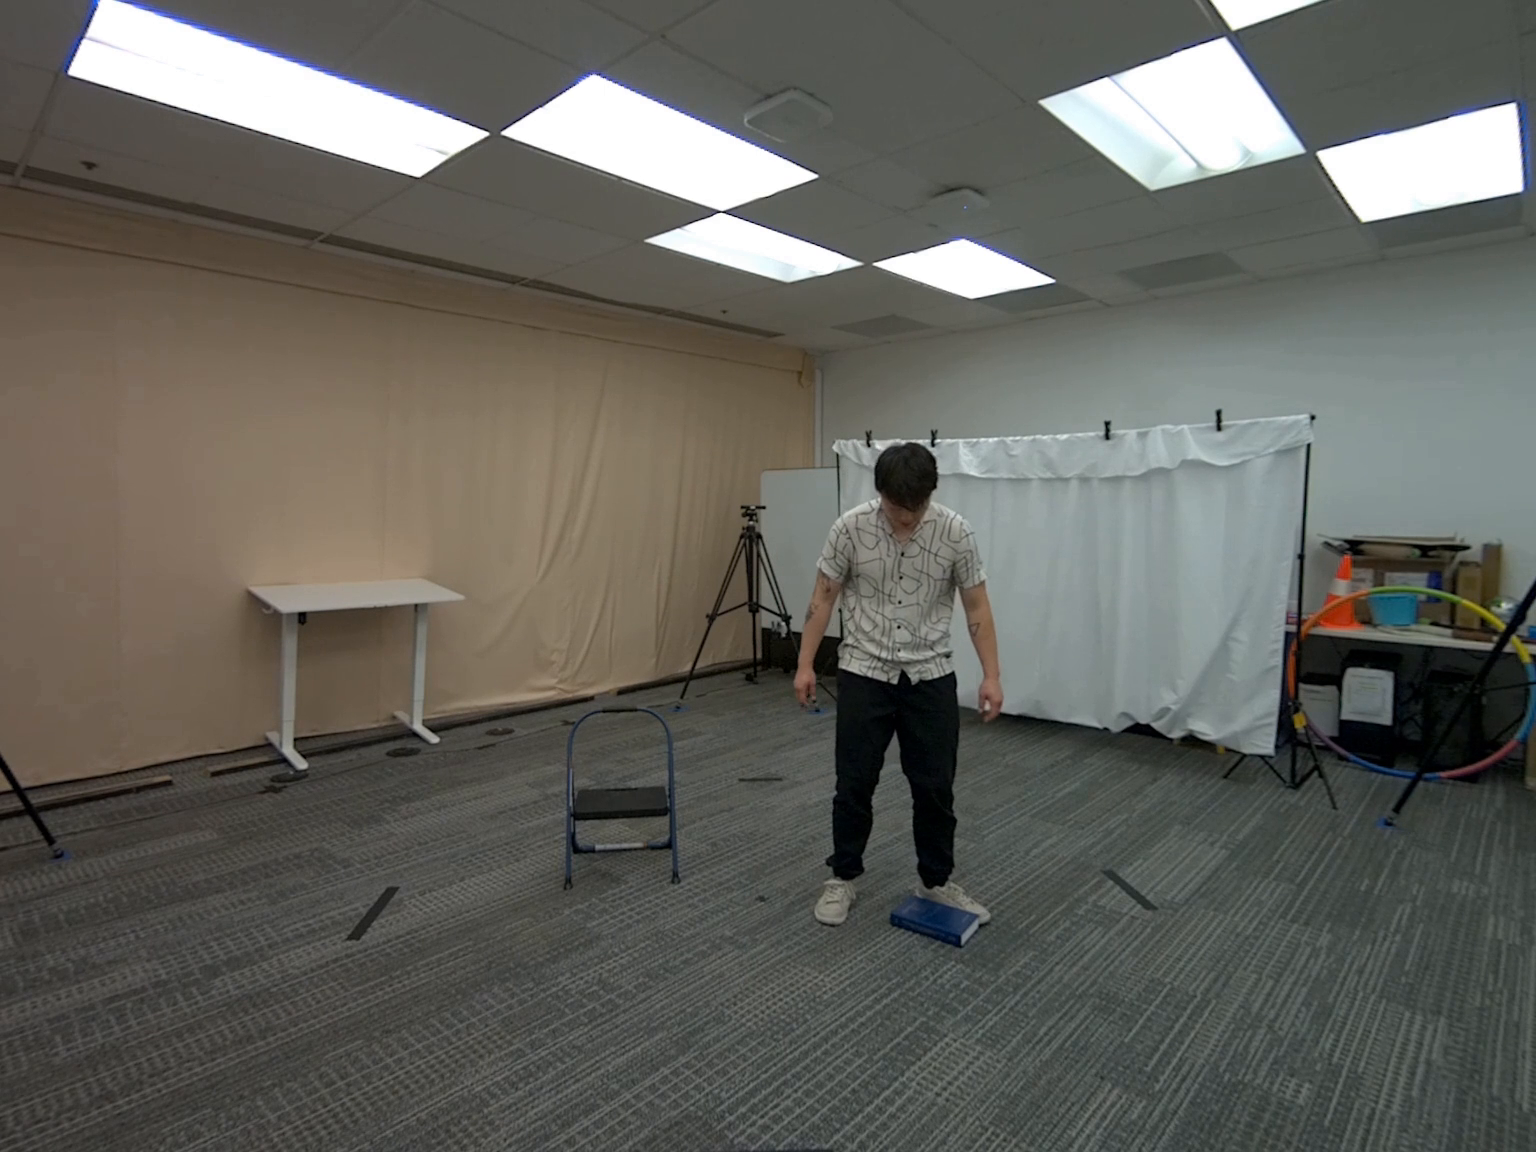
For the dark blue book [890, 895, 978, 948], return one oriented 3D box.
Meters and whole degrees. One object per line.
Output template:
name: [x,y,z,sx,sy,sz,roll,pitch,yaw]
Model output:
dark blue book: [0.555,1.137,2.778,0.253,0.045,0.159,3,5,36]
